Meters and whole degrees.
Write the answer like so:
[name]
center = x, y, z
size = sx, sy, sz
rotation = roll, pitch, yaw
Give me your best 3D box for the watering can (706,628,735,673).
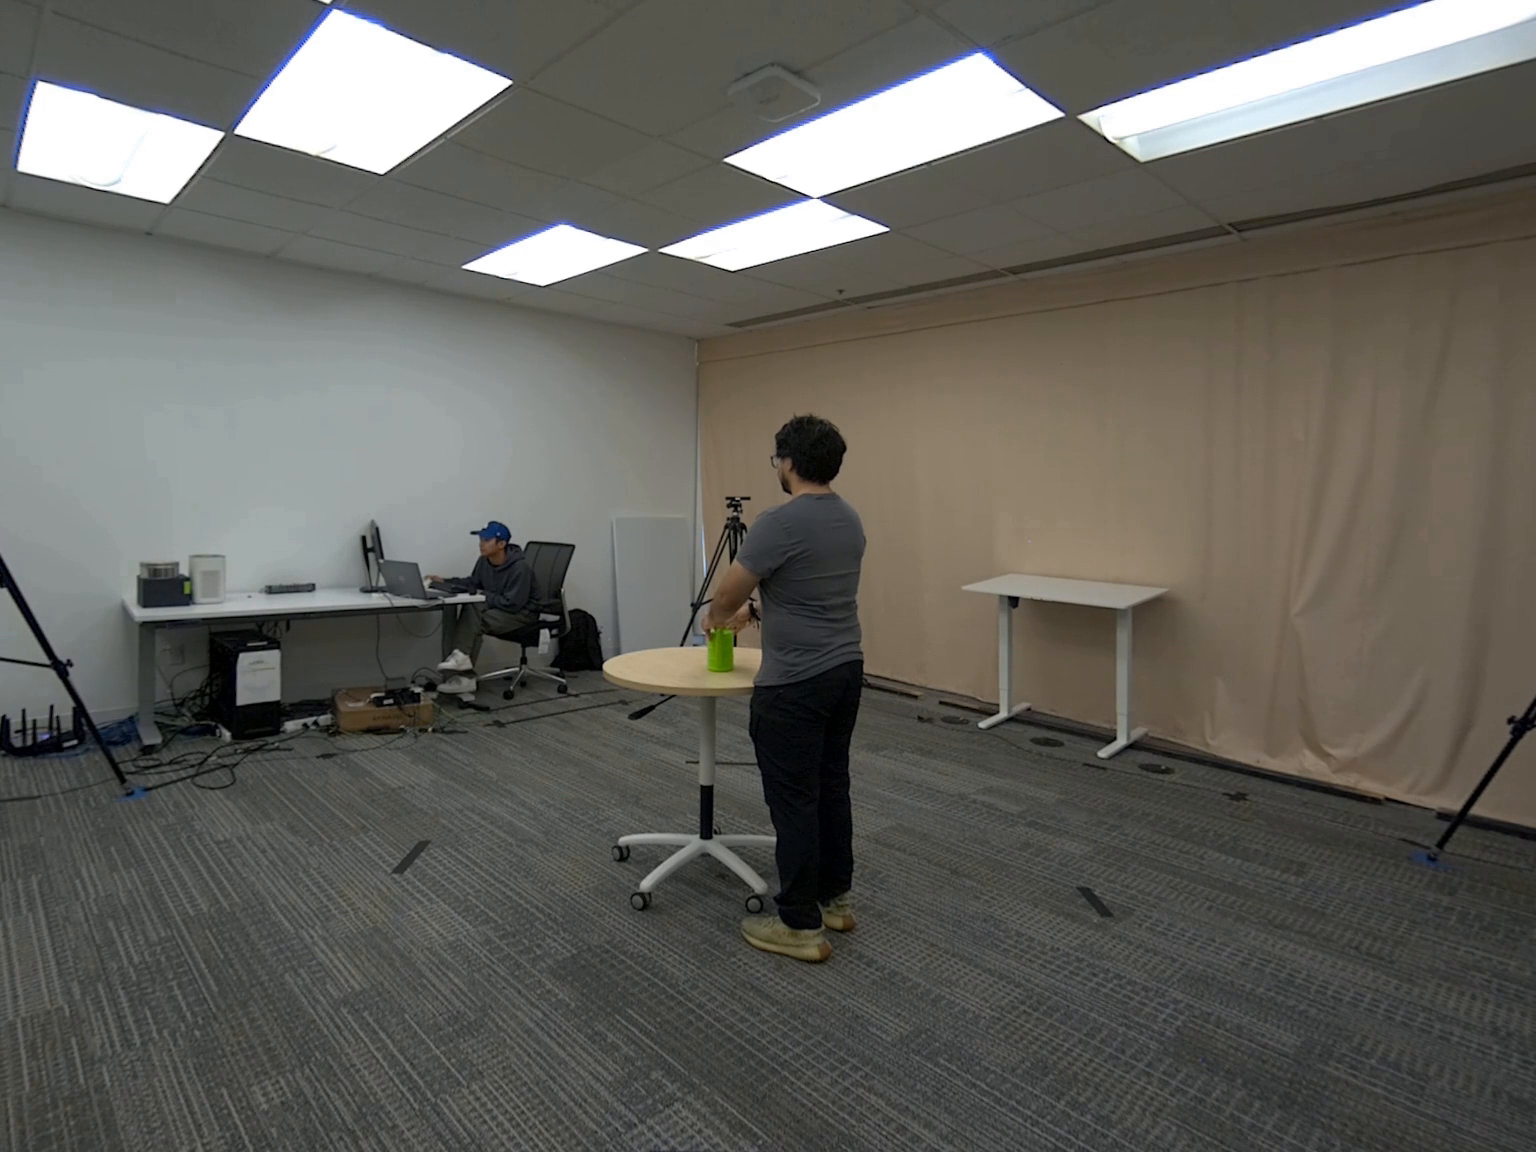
[watering can]
center = -0.183, 0.254, 2.954
size = 0.099, 0.176, 0.276
rotation = 2, 4, 10
